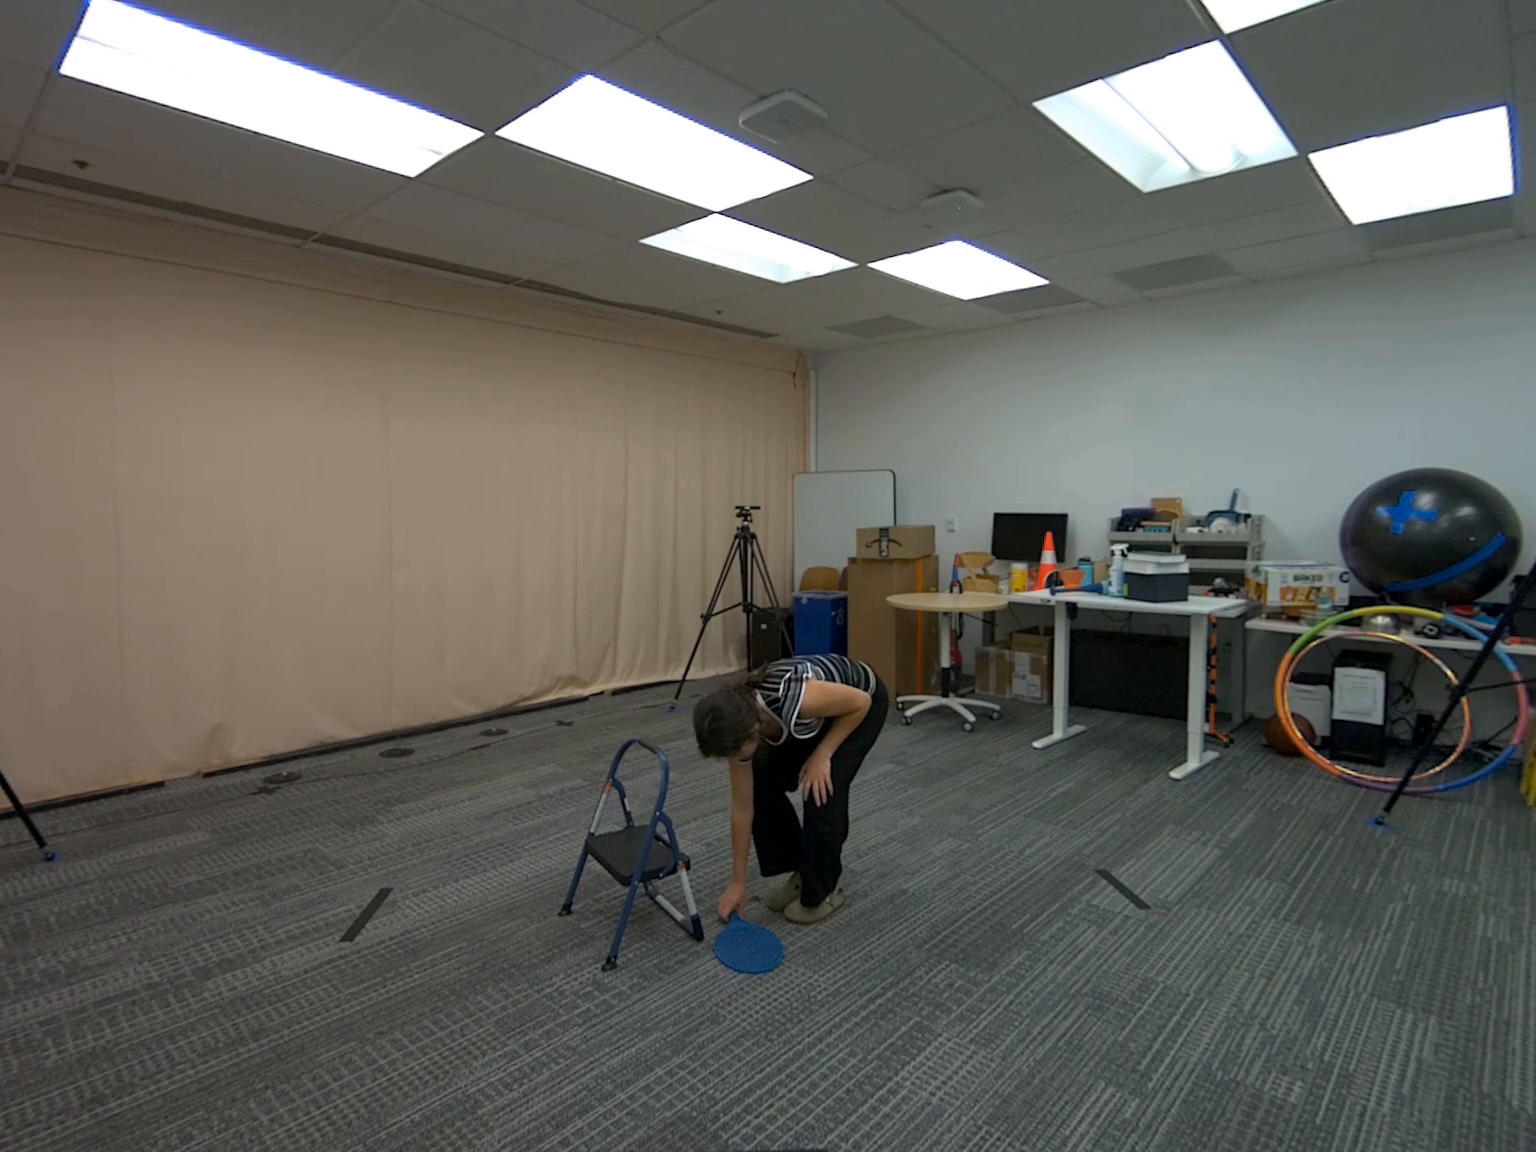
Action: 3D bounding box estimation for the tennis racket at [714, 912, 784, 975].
[{"bbox_3d":[-0.074,1.146,2.710,0.210,0.031,0.441,-4,8,-16],"label":"tennis racket"}]
